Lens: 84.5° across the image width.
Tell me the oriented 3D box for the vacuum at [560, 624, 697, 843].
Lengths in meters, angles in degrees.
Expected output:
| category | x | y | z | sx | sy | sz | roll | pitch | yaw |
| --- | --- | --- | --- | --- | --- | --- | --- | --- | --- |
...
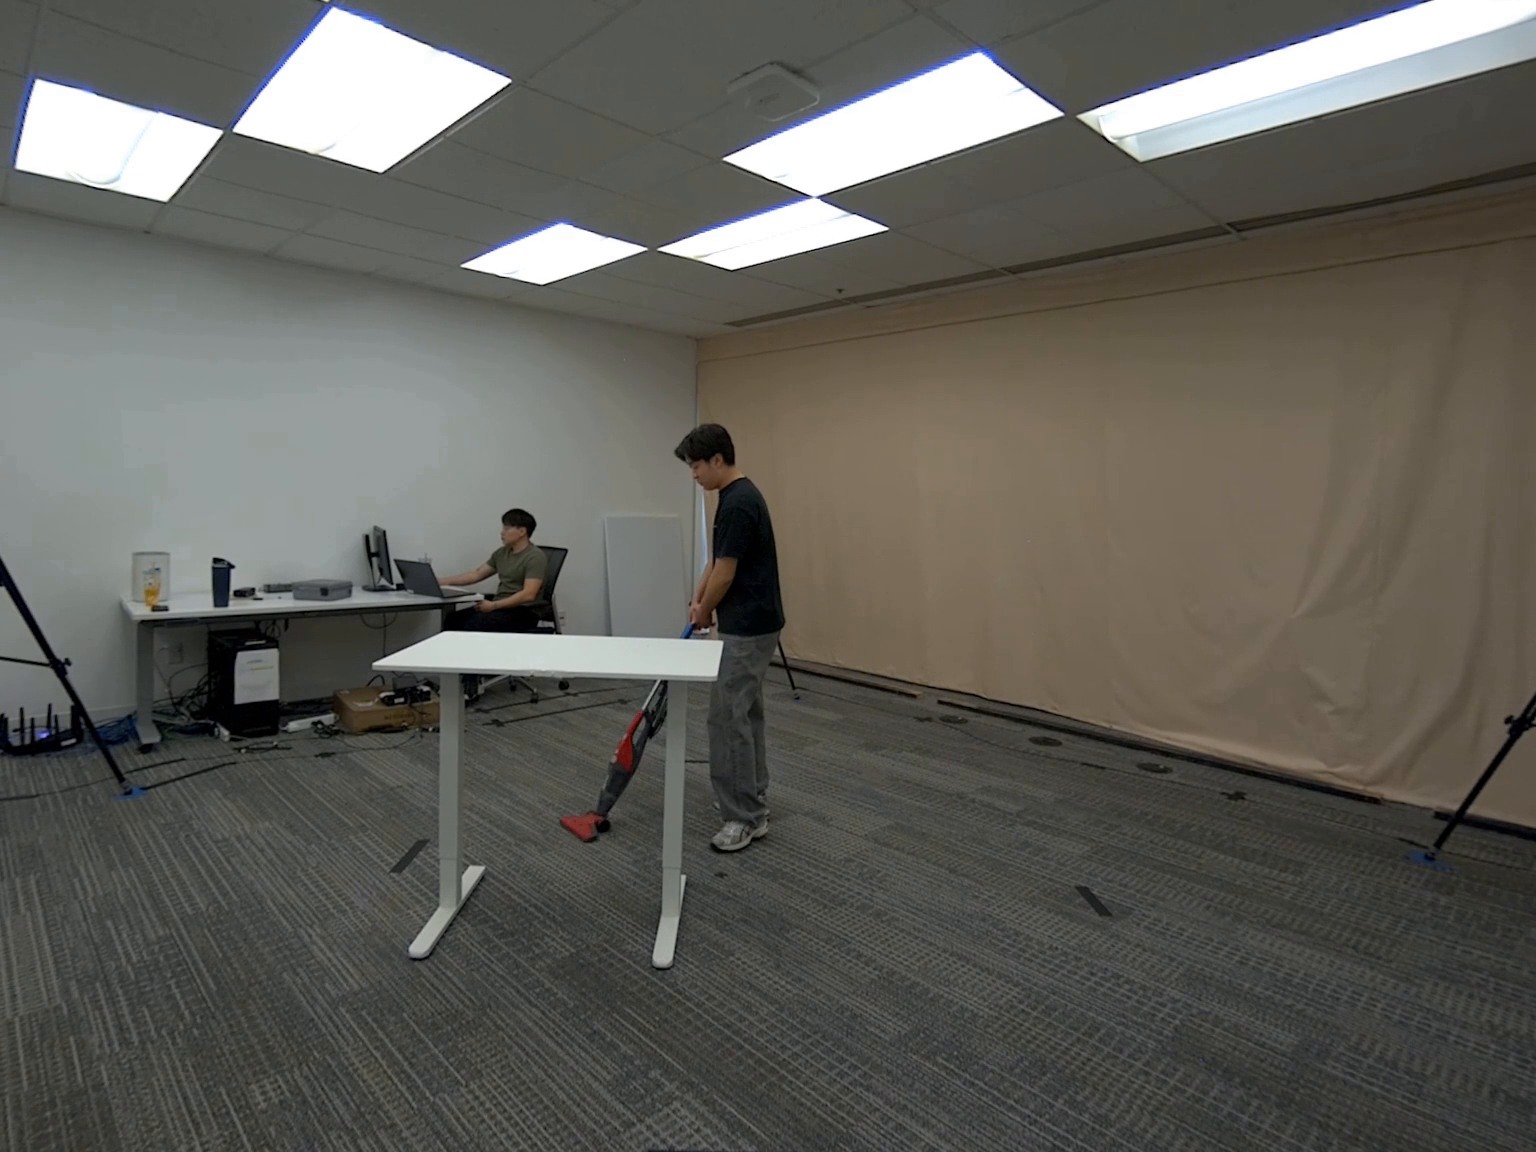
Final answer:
| category | x | y | z | sx | sy | sz | roll | pitch | yaw |
| --- | --- | --- | --- | --- | --- | --- | --- | --- | --- |
| vacuum | -0.526 | 0.605 | 3.650 | 0.259 | 1.054 | 0.139 | 7 | -27 | 48 |
